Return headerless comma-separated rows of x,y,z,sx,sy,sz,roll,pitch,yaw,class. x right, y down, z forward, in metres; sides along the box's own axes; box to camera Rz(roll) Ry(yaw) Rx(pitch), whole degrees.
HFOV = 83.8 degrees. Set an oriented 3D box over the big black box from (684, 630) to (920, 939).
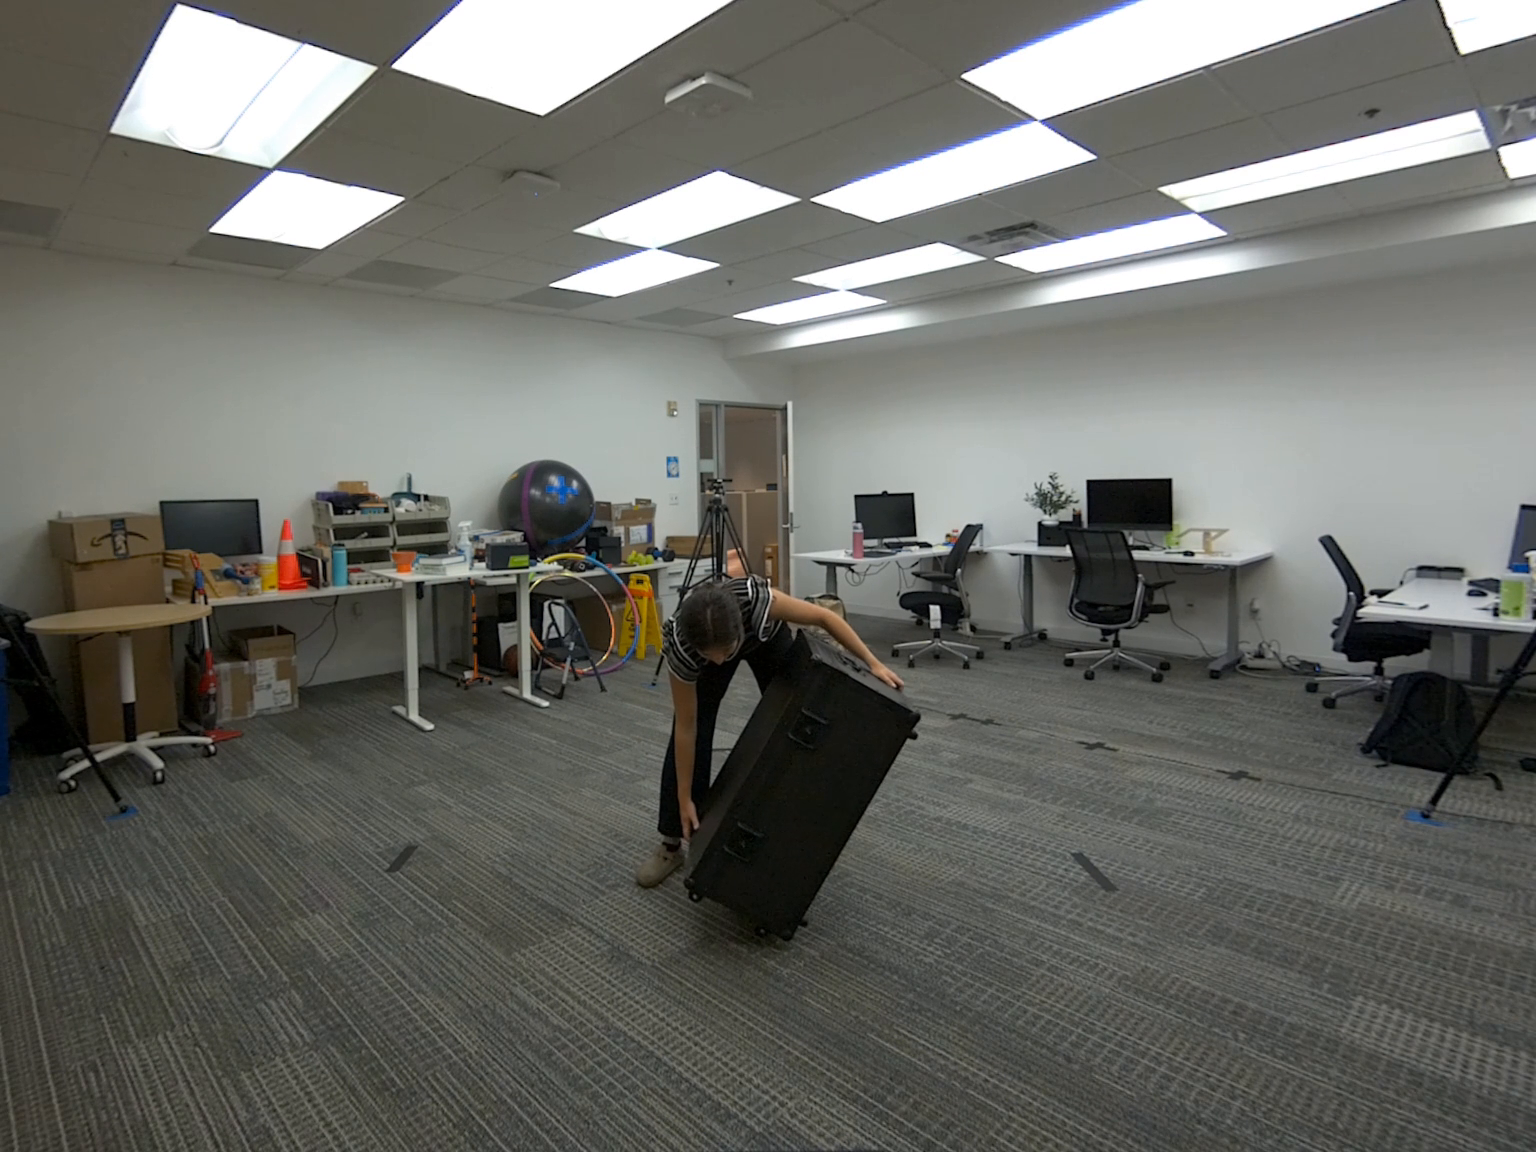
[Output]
0.086,0.667,2.724,0.395,0.860,0.524,29,5,-4,big black box
